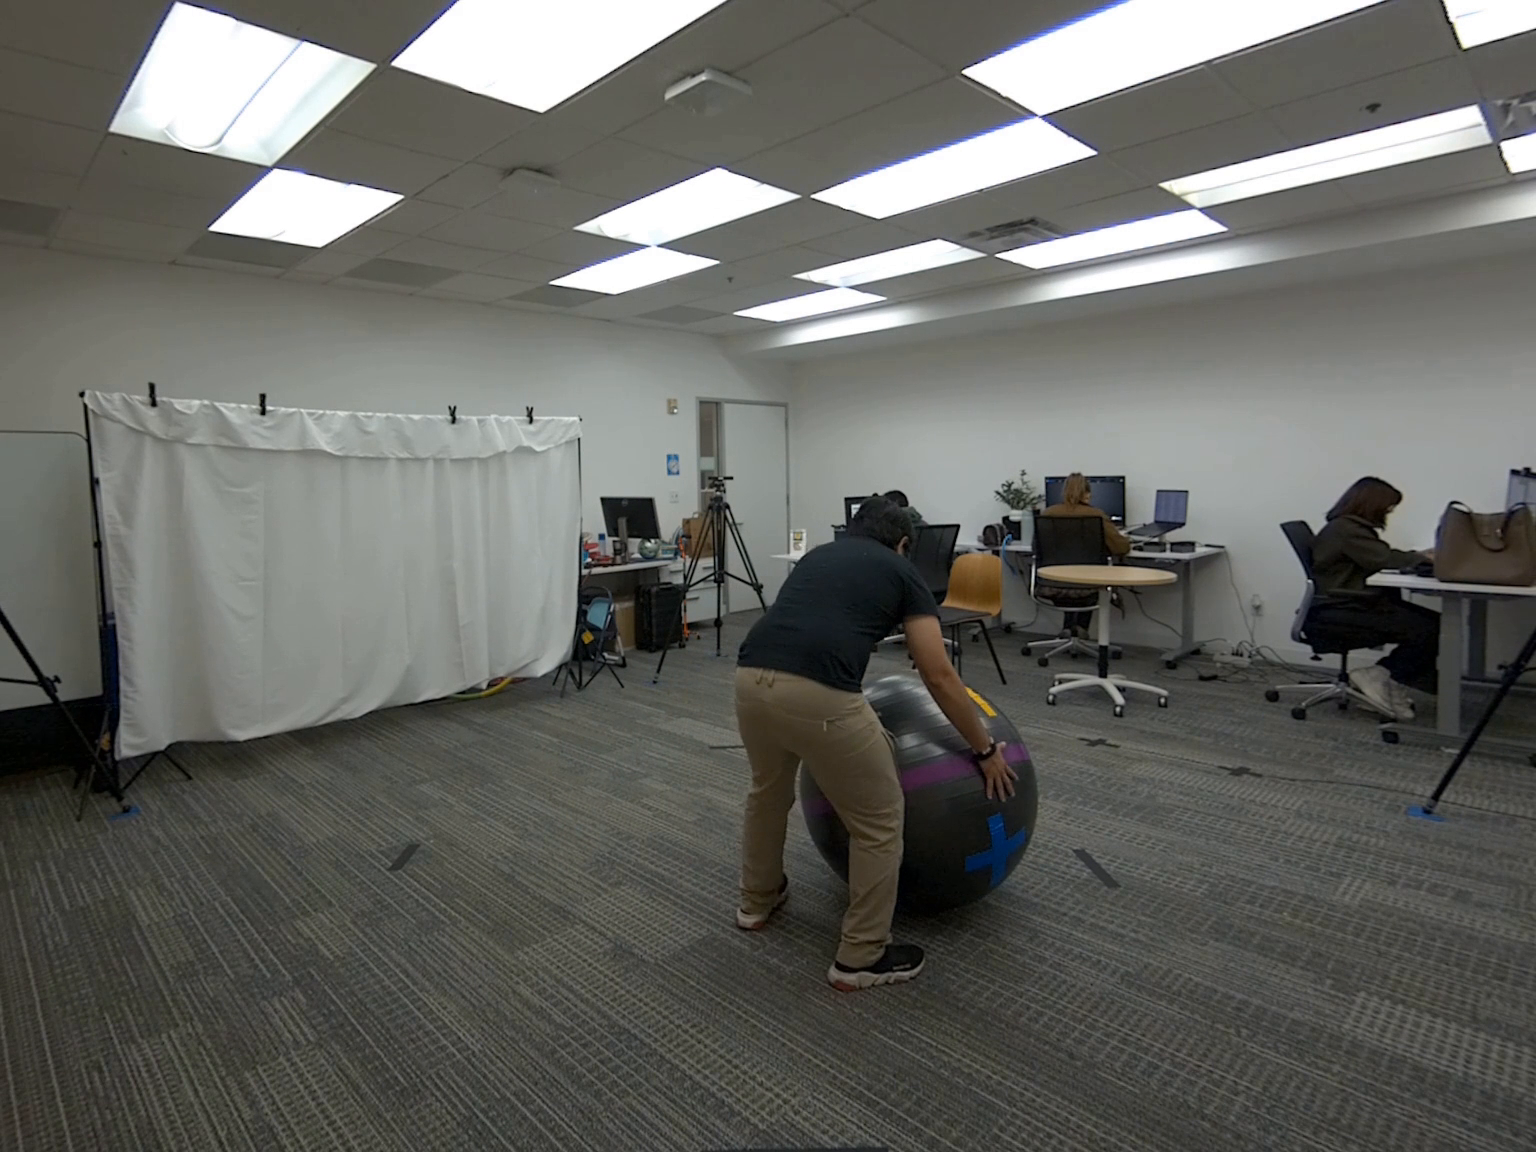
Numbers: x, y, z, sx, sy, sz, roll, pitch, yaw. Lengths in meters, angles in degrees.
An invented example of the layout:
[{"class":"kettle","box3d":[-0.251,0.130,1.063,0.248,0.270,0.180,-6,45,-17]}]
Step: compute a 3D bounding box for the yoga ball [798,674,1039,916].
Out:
[{"class":"yoga ball","box3d":[0.496,0.712,2.817,0.757,0.755,0.762,-1,5,-2]}]
